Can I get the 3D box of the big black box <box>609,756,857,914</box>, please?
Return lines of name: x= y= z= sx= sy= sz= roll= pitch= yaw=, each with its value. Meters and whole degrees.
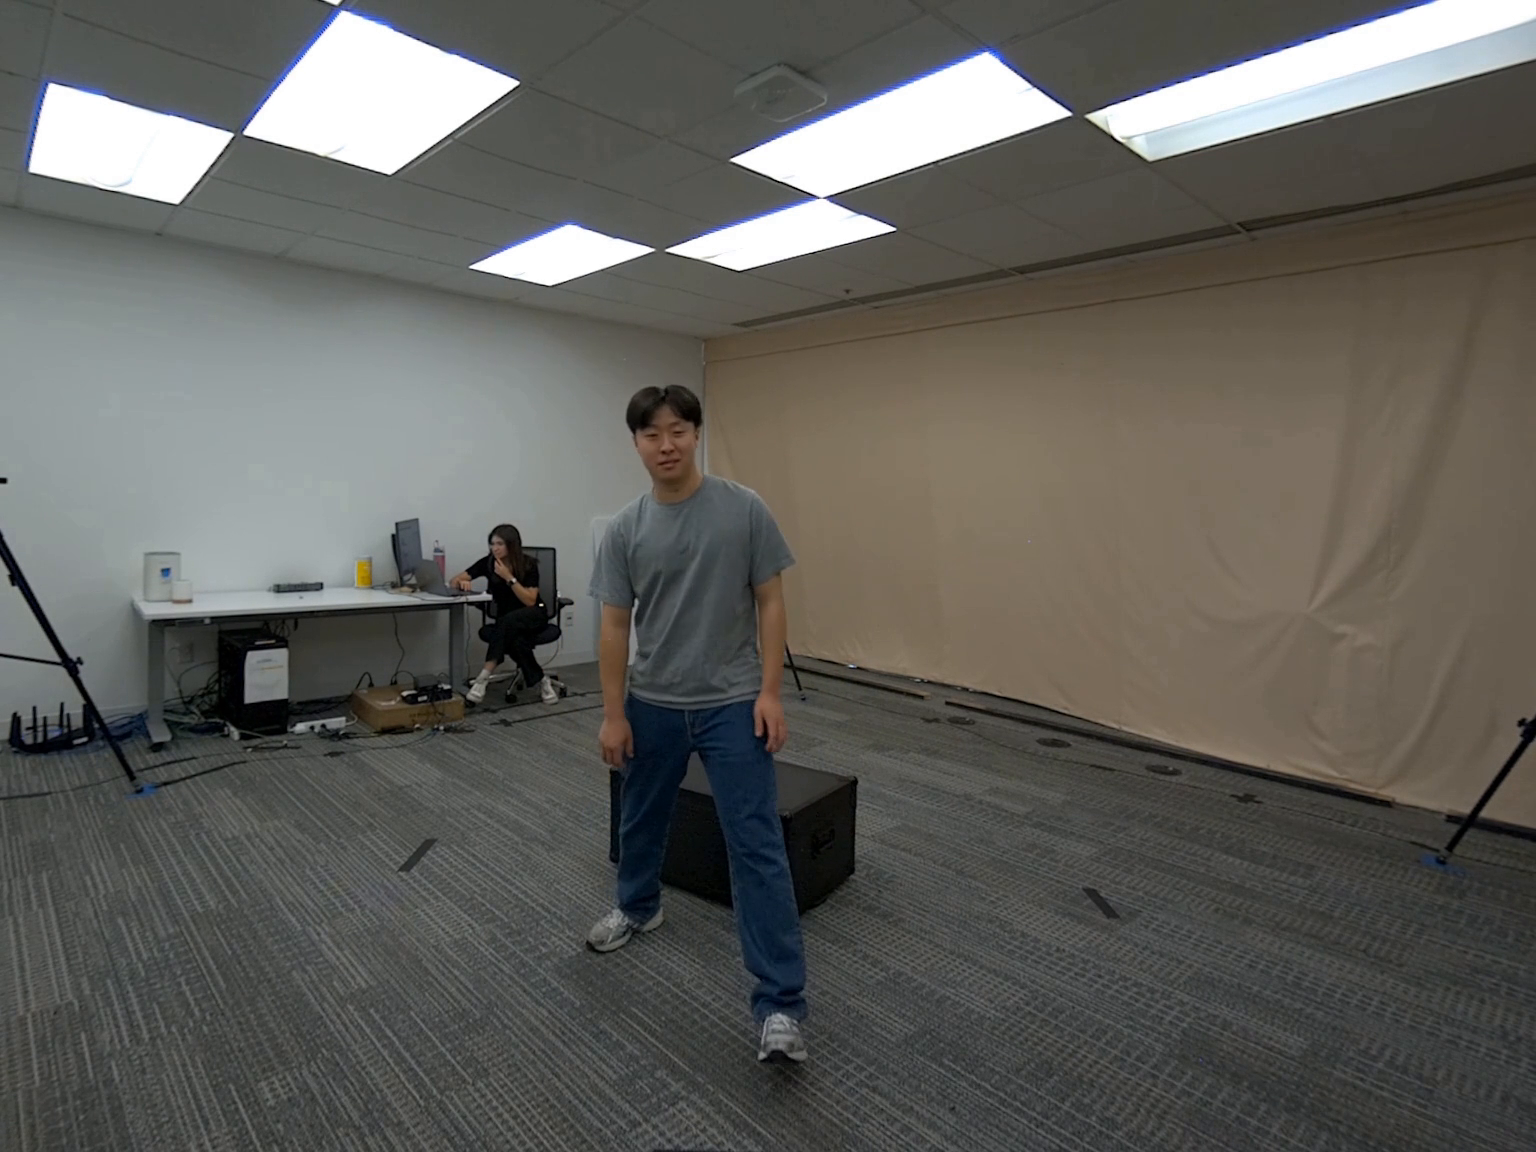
big black box: x=-0.166 y=0.912 z=3.134 sx=0.882 sy=0.395 sz=0.510 roll=5 pitch=6 yaw=34
